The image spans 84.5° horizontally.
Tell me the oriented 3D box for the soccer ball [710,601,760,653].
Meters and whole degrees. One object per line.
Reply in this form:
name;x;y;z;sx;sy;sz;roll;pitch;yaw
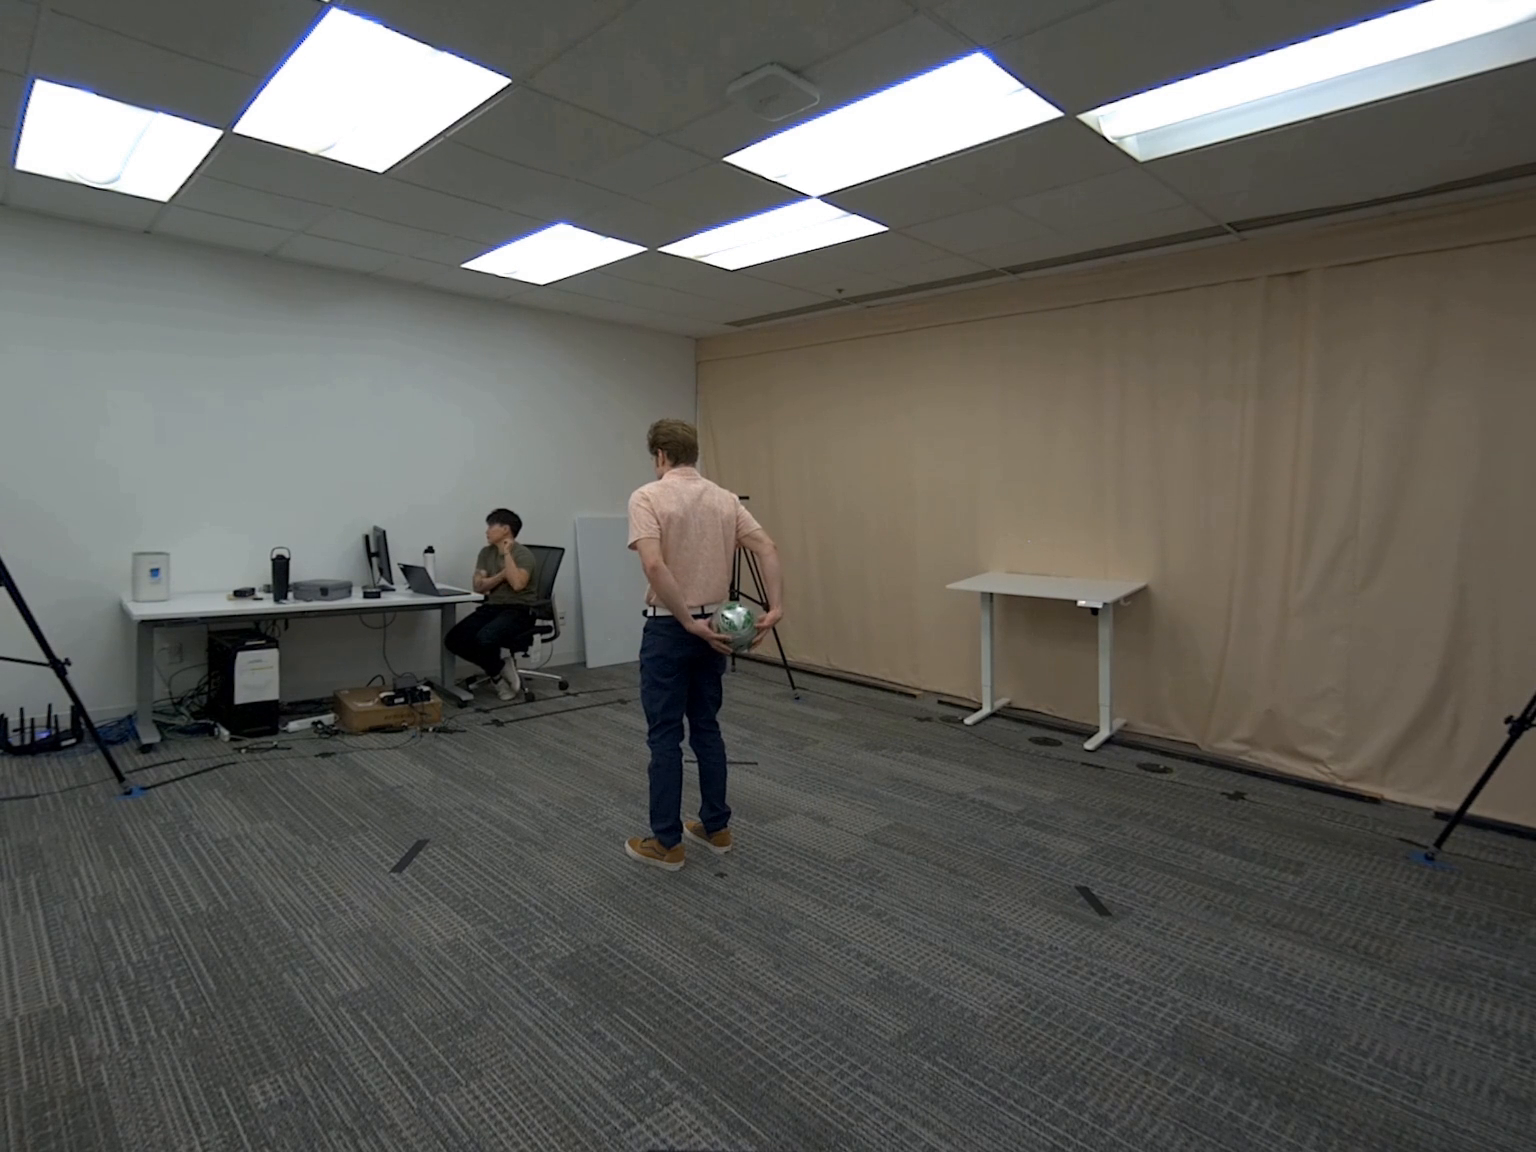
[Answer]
soccer ball;-0.129;0.181;3.099;0.187;0.187;0.188;1;4;-1
